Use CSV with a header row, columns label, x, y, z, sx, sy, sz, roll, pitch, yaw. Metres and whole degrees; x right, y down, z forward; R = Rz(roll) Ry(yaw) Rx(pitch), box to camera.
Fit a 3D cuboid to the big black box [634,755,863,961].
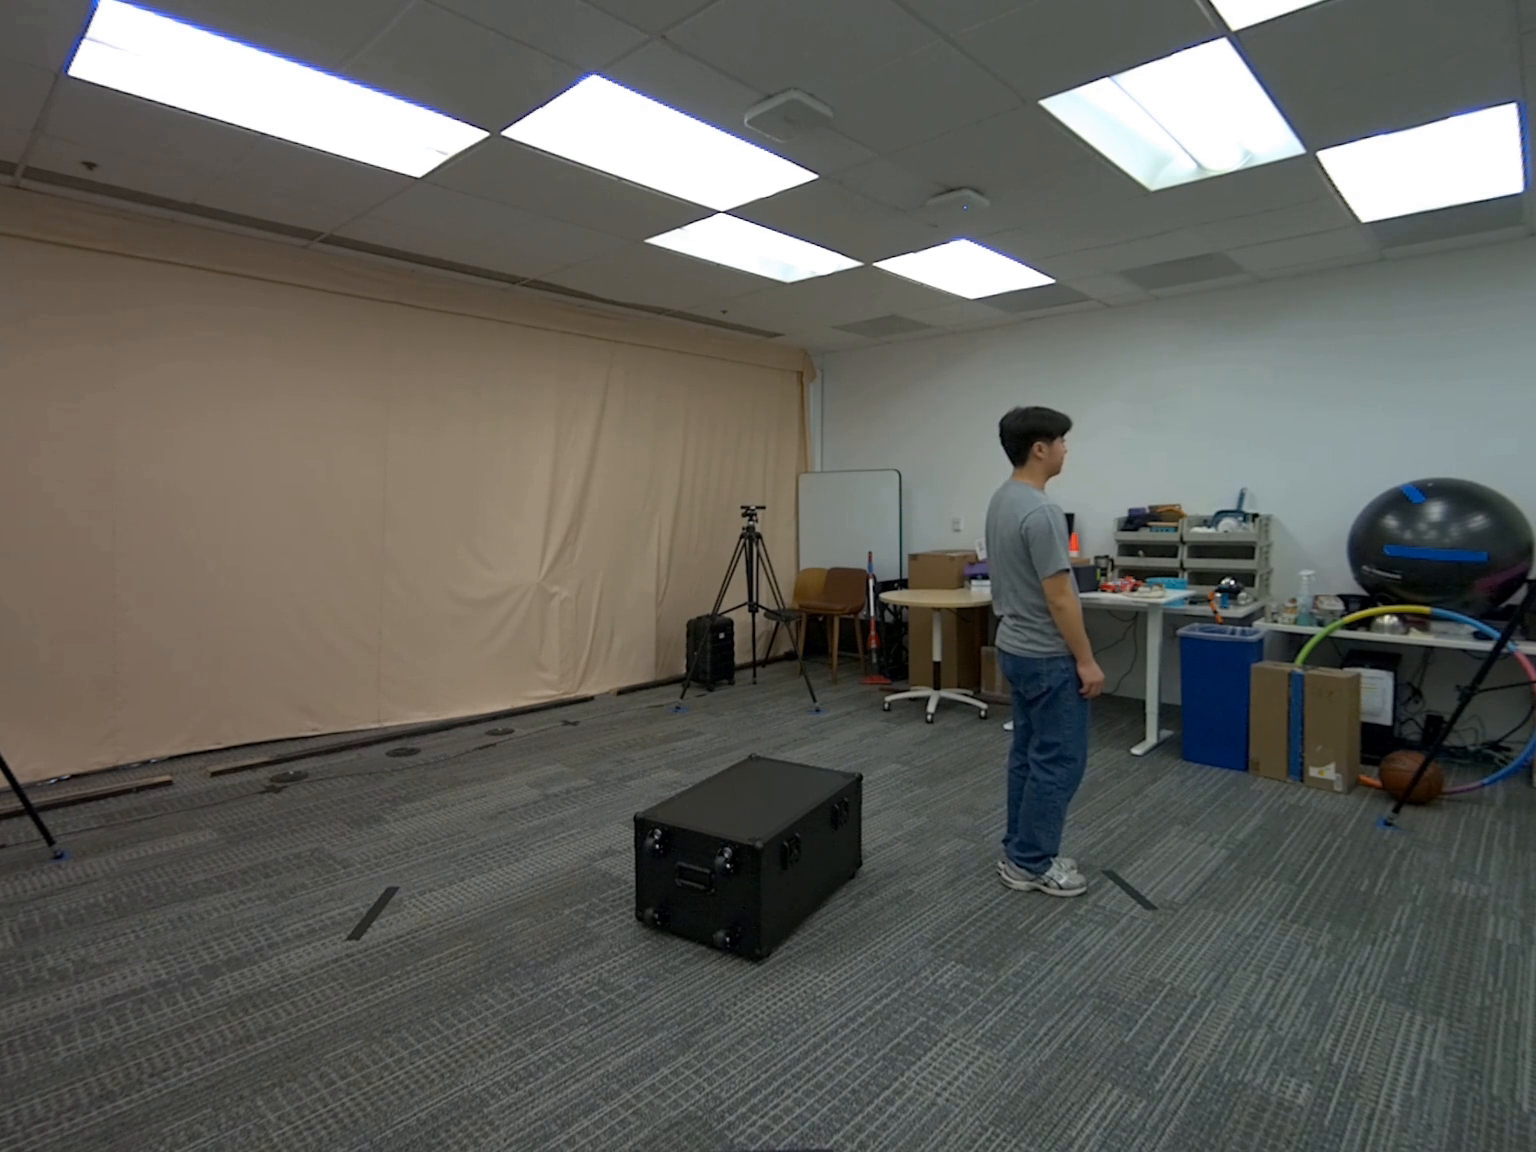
label,x,y,z,sx,sy,sz,roll,pitch,yaw
big black box,-0.058,0.956,2.954,0.536,0.395,0.838,2,5,30
